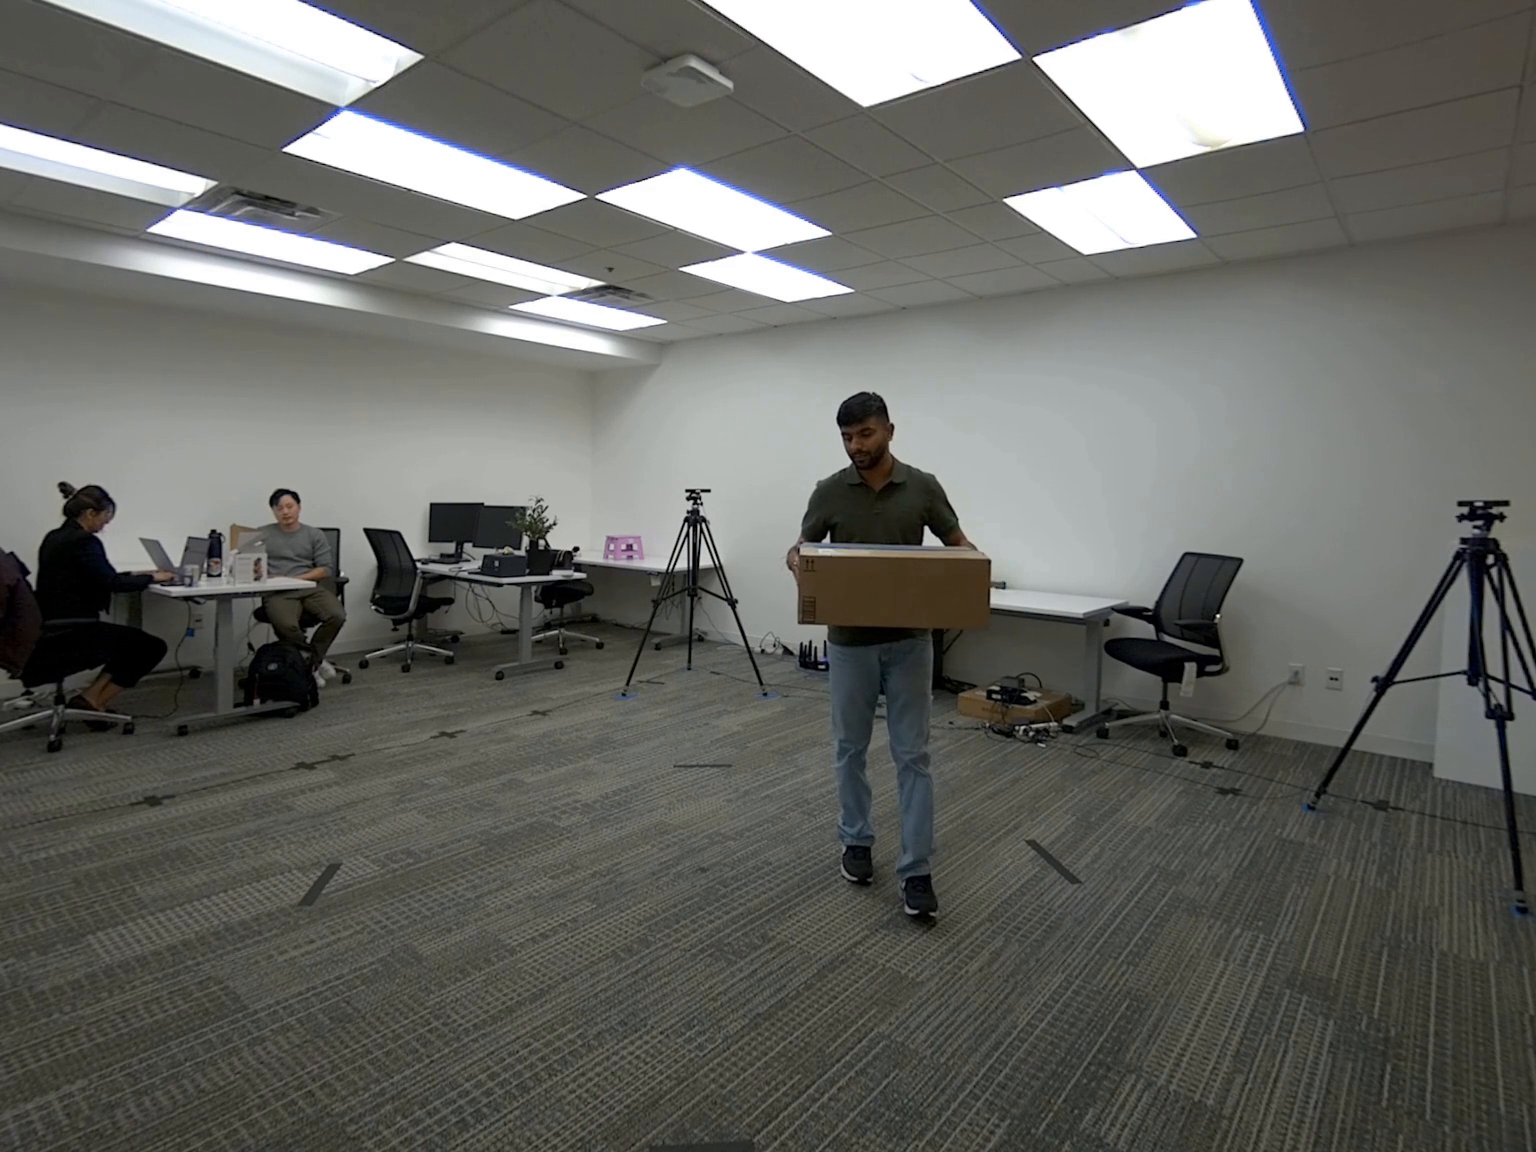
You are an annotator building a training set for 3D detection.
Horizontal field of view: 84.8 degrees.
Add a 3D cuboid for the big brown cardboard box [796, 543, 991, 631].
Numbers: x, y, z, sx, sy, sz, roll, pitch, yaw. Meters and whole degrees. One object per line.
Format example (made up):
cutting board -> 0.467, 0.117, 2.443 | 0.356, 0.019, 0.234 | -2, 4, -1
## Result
big brown cardboard box -> 0.374, 0.018, 2.728 | 0.592, 0.232, 0.418 | 2, 6, 3
